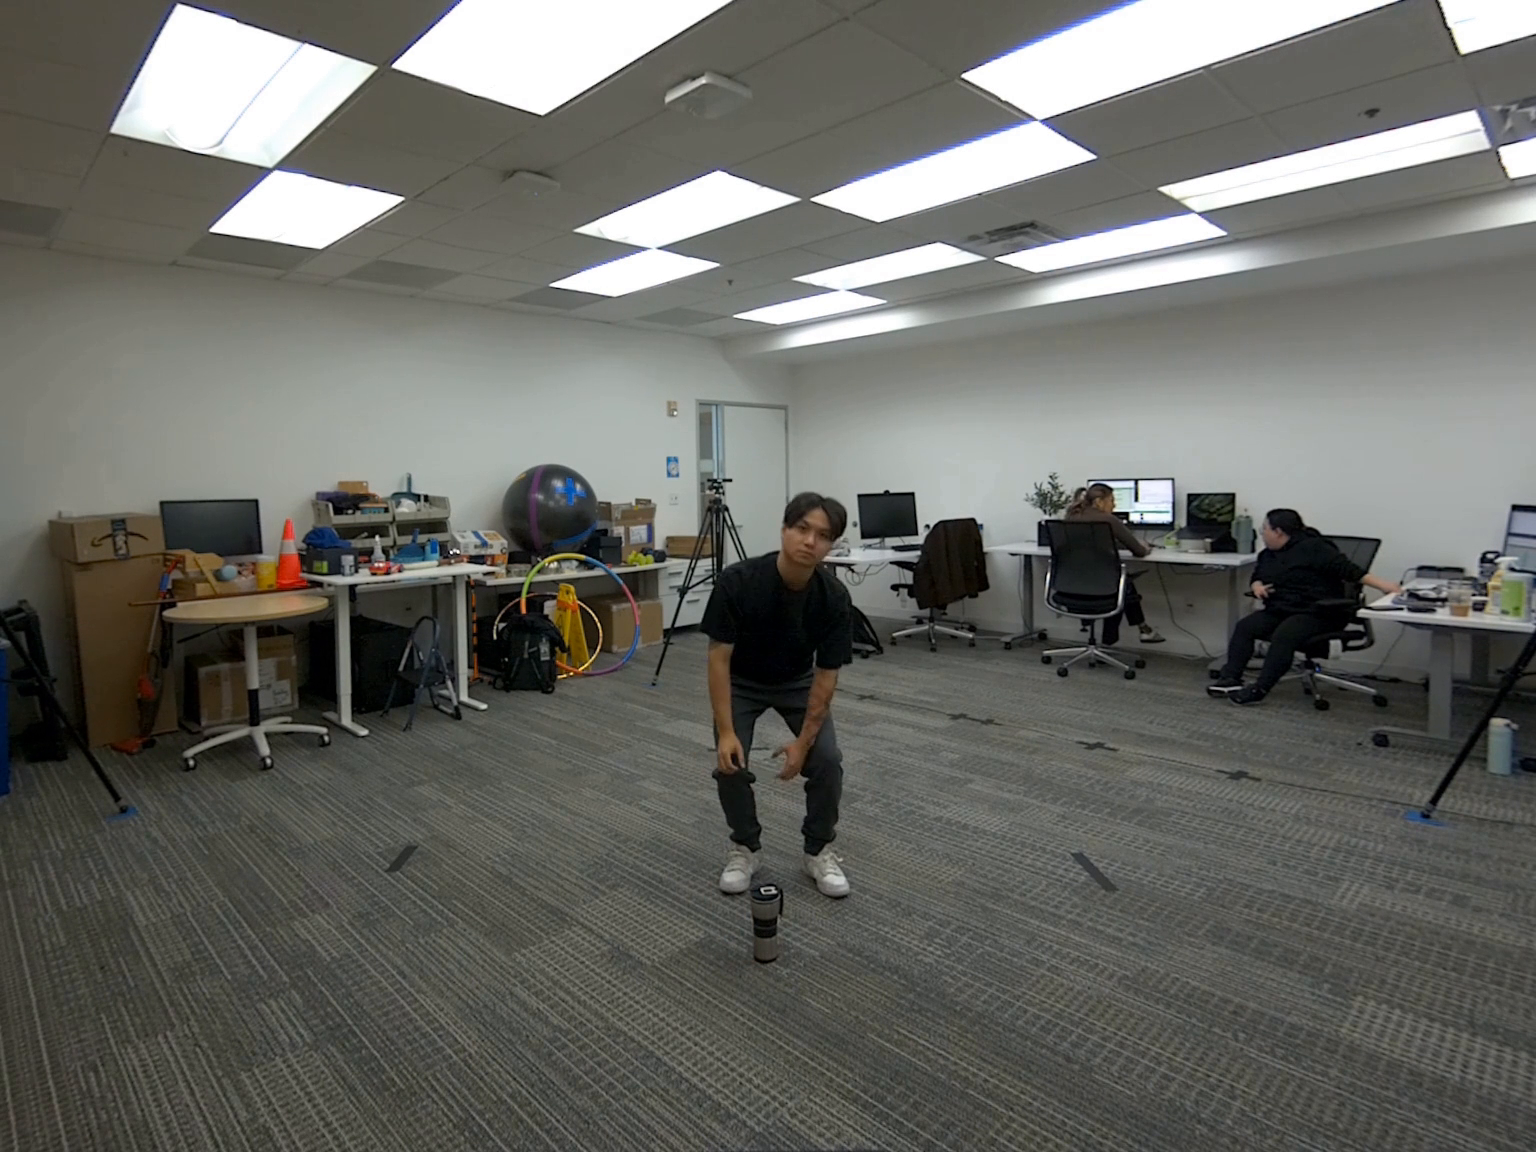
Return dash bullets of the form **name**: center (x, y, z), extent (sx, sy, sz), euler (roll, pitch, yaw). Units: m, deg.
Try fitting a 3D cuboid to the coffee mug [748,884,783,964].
- **coffee mug**: center (0.016, 1.011, 2.509), extent (0.119, 0.202, 0.090), euler (-8, 3, -38)
